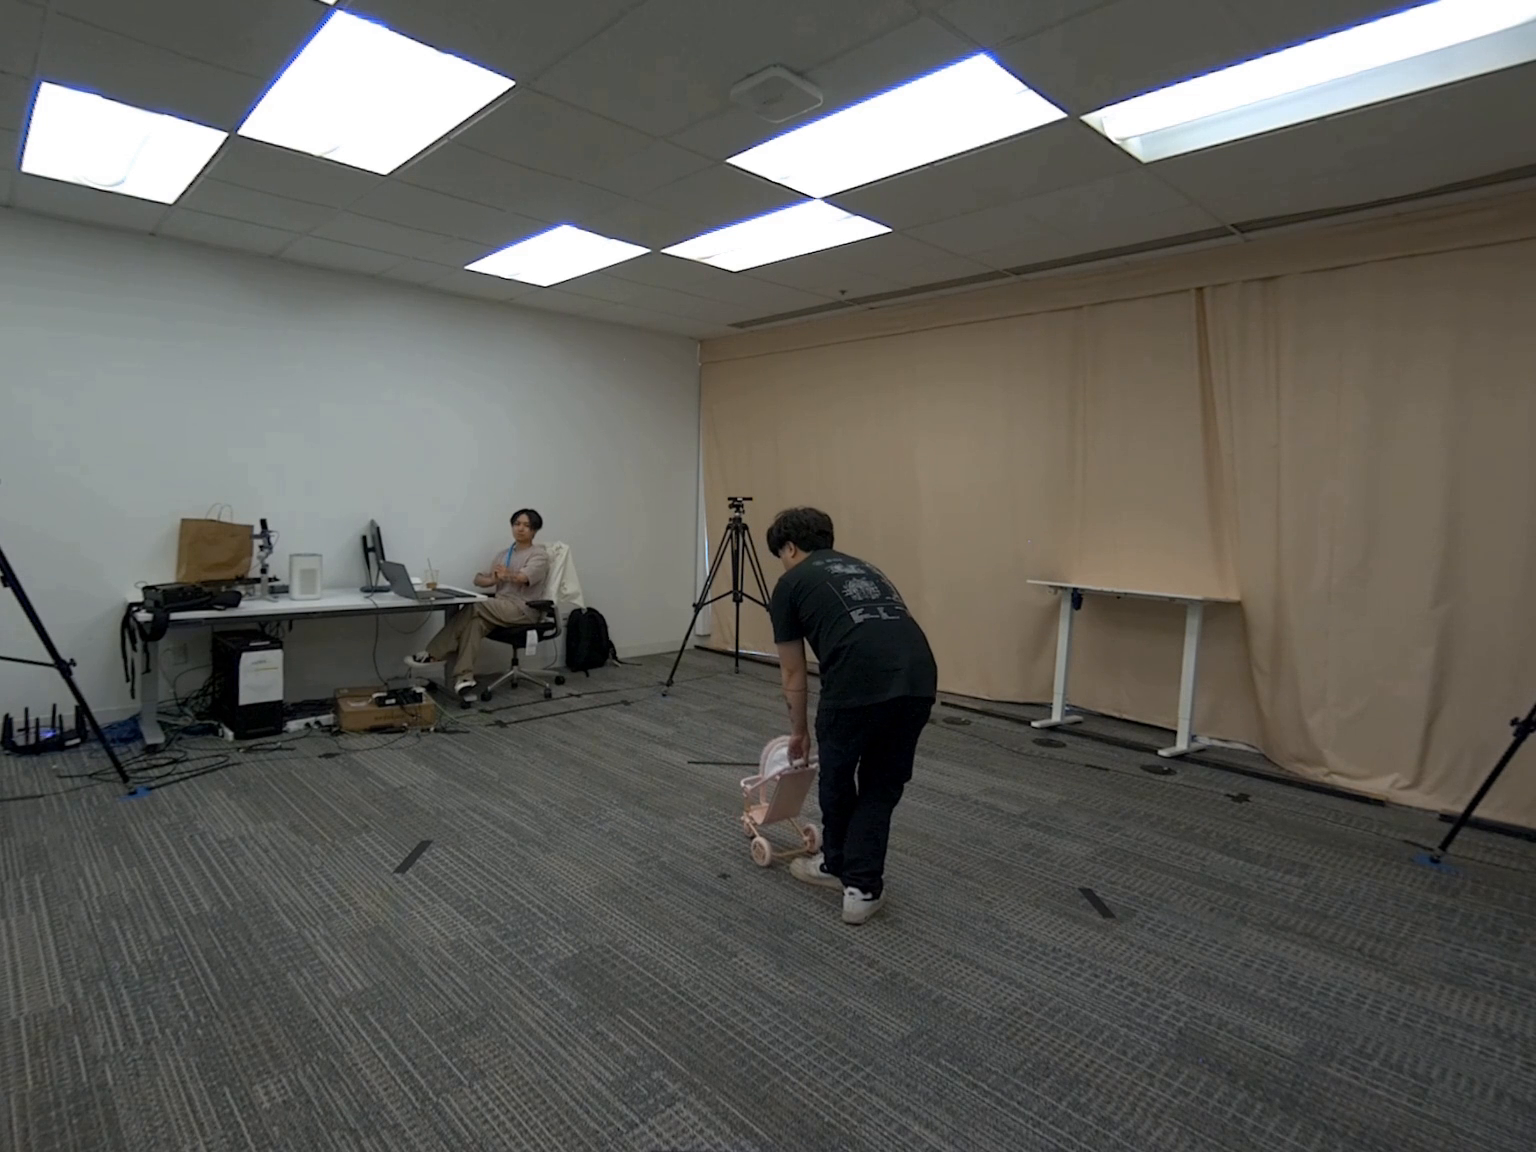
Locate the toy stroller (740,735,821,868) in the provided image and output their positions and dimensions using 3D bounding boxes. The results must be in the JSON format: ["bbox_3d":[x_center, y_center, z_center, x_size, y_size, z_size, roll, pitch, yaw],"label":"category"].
[{"bbox_3d":[0.035,0.865,3.308,0.275,0.530,0.352,-1,19,-32],"label":"toy stroller"}]
